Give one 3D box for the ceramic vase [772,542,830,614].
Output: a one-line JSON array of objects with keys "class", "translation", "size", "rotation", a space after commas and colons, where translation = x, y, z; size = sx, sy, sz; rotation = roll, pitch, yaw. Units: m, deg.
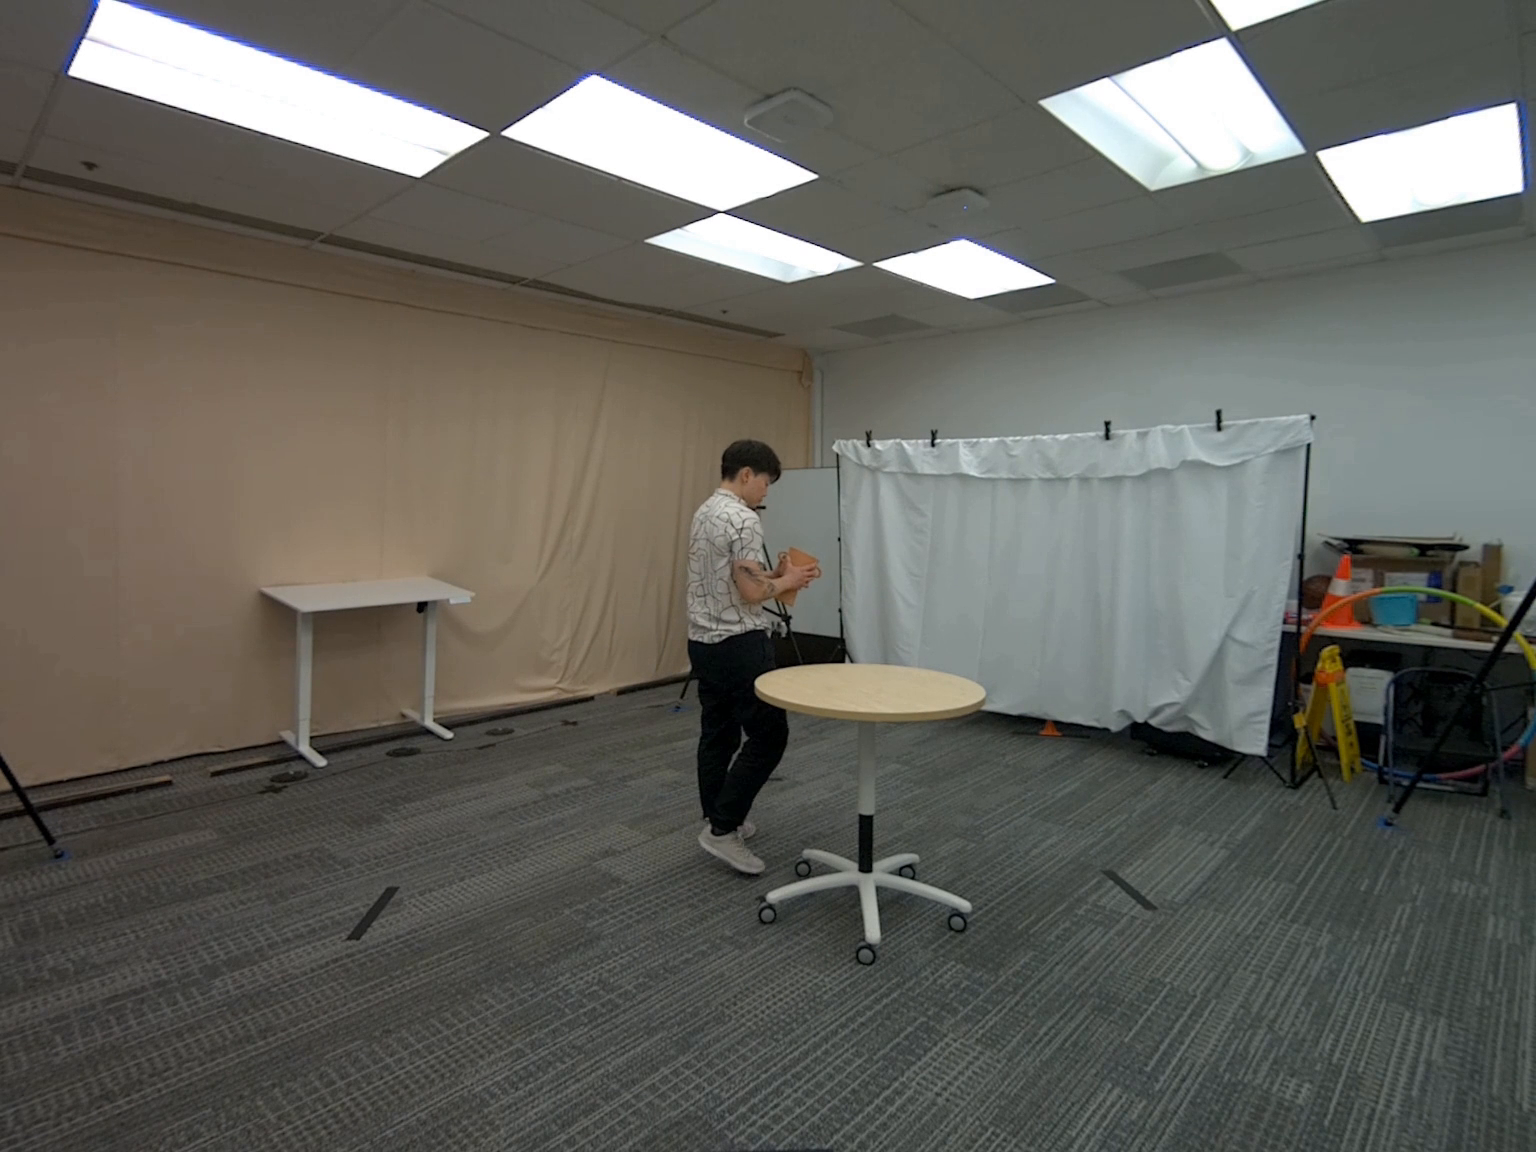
[{"class": "ceramic vase", "translation": [0.108, 0.006, 3.425], "size": [0.164, 0.220, 0.130], "rotation": [27, 0, 30]}]
